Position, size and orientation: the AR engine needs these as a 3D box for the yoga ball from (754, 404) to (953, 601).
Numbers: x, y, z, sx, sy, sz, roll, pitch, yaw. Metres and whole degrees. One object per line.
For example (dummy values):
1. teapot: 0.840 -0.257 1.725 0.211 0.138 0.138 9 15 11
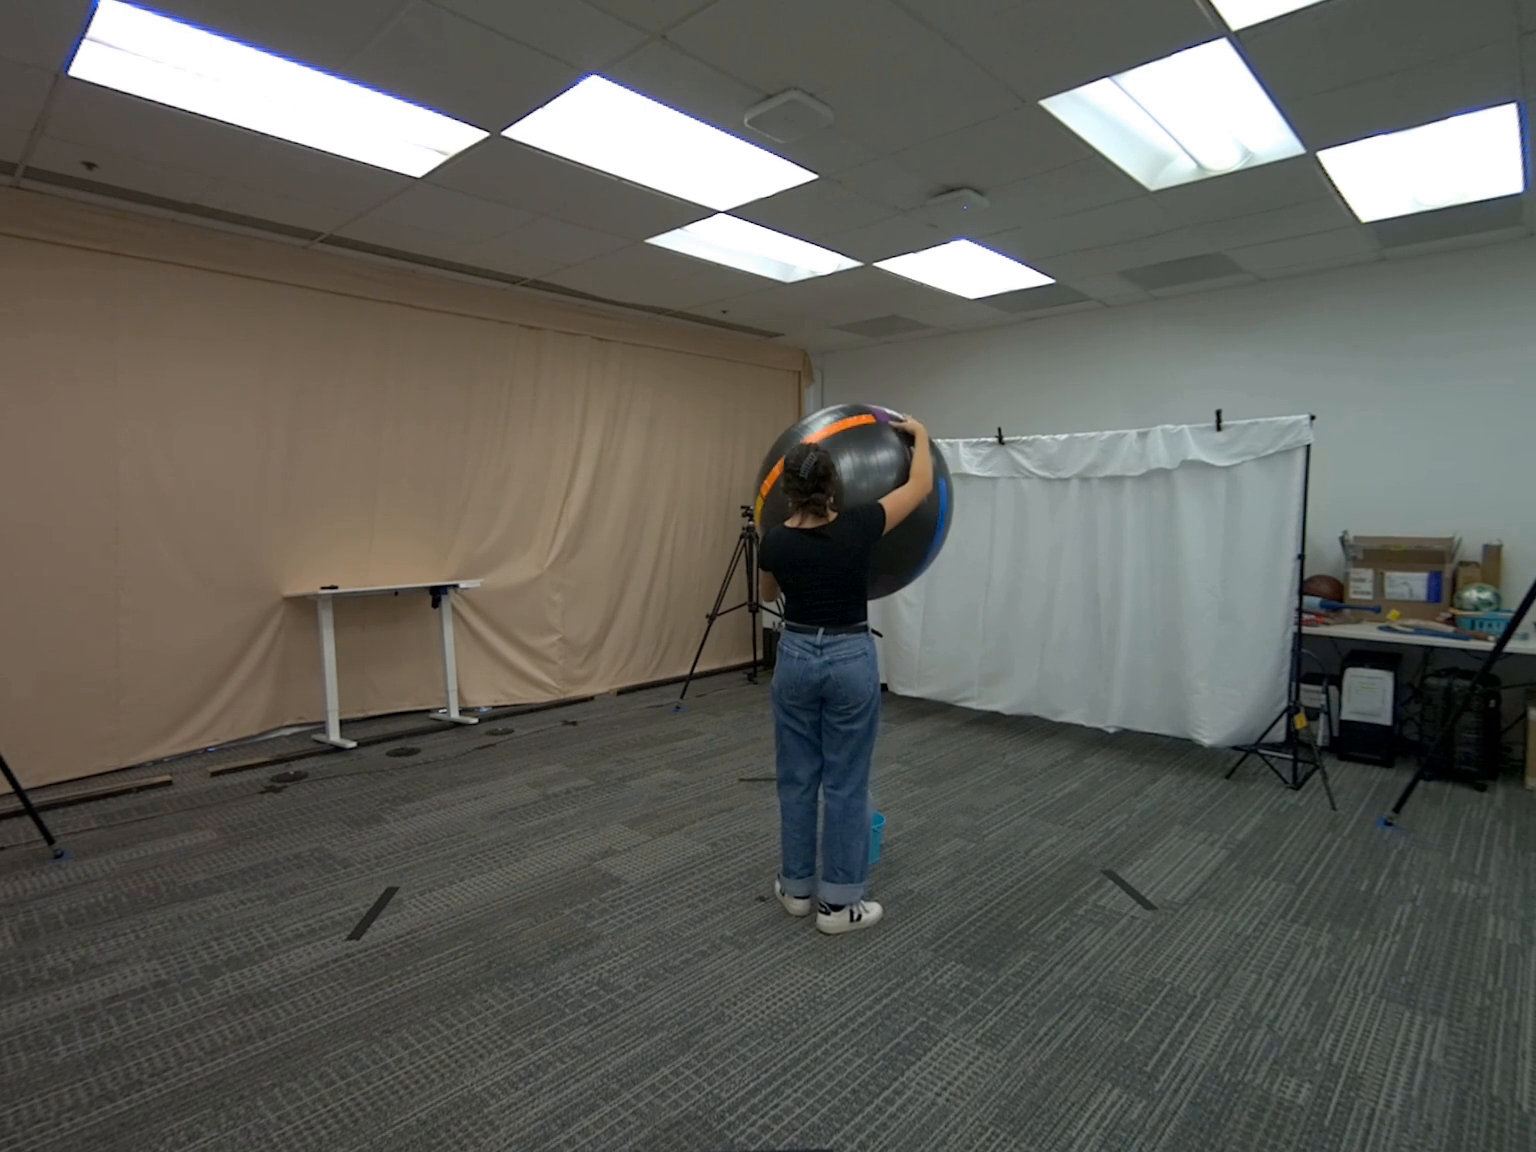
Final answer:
1. yoga ball: 0.329 -0.274 3.243 0.757 0.756 0.760 0 4 -2
